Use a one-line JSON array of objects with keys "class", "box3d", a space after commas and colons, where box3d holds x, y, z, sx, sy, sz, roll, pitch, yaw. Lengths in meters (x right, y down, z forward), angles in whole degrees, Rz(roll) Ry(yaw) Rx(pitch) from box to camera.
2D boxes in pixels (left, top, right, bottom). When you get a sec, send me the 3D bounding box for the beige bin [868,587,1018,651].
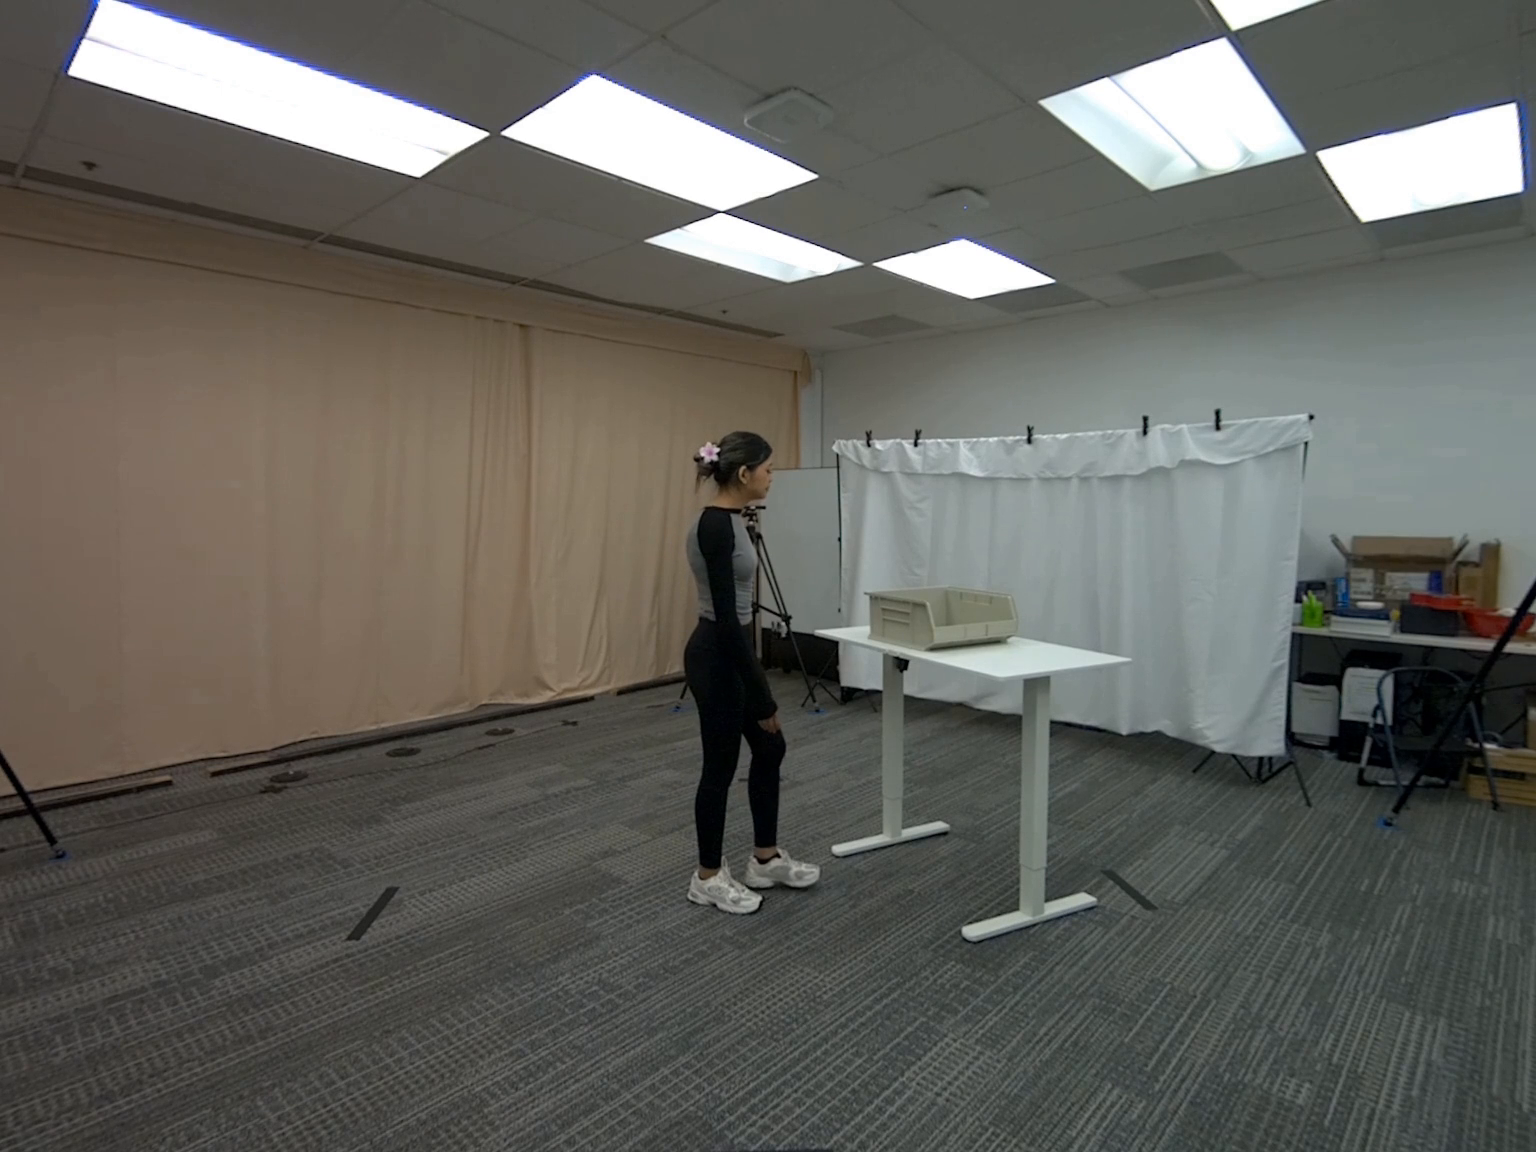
[{"class": "beige bin", "box3d": [0.660, 0.161, 3.145, 0.411, 0.188, 0.388, -4, 5, -31]}]
